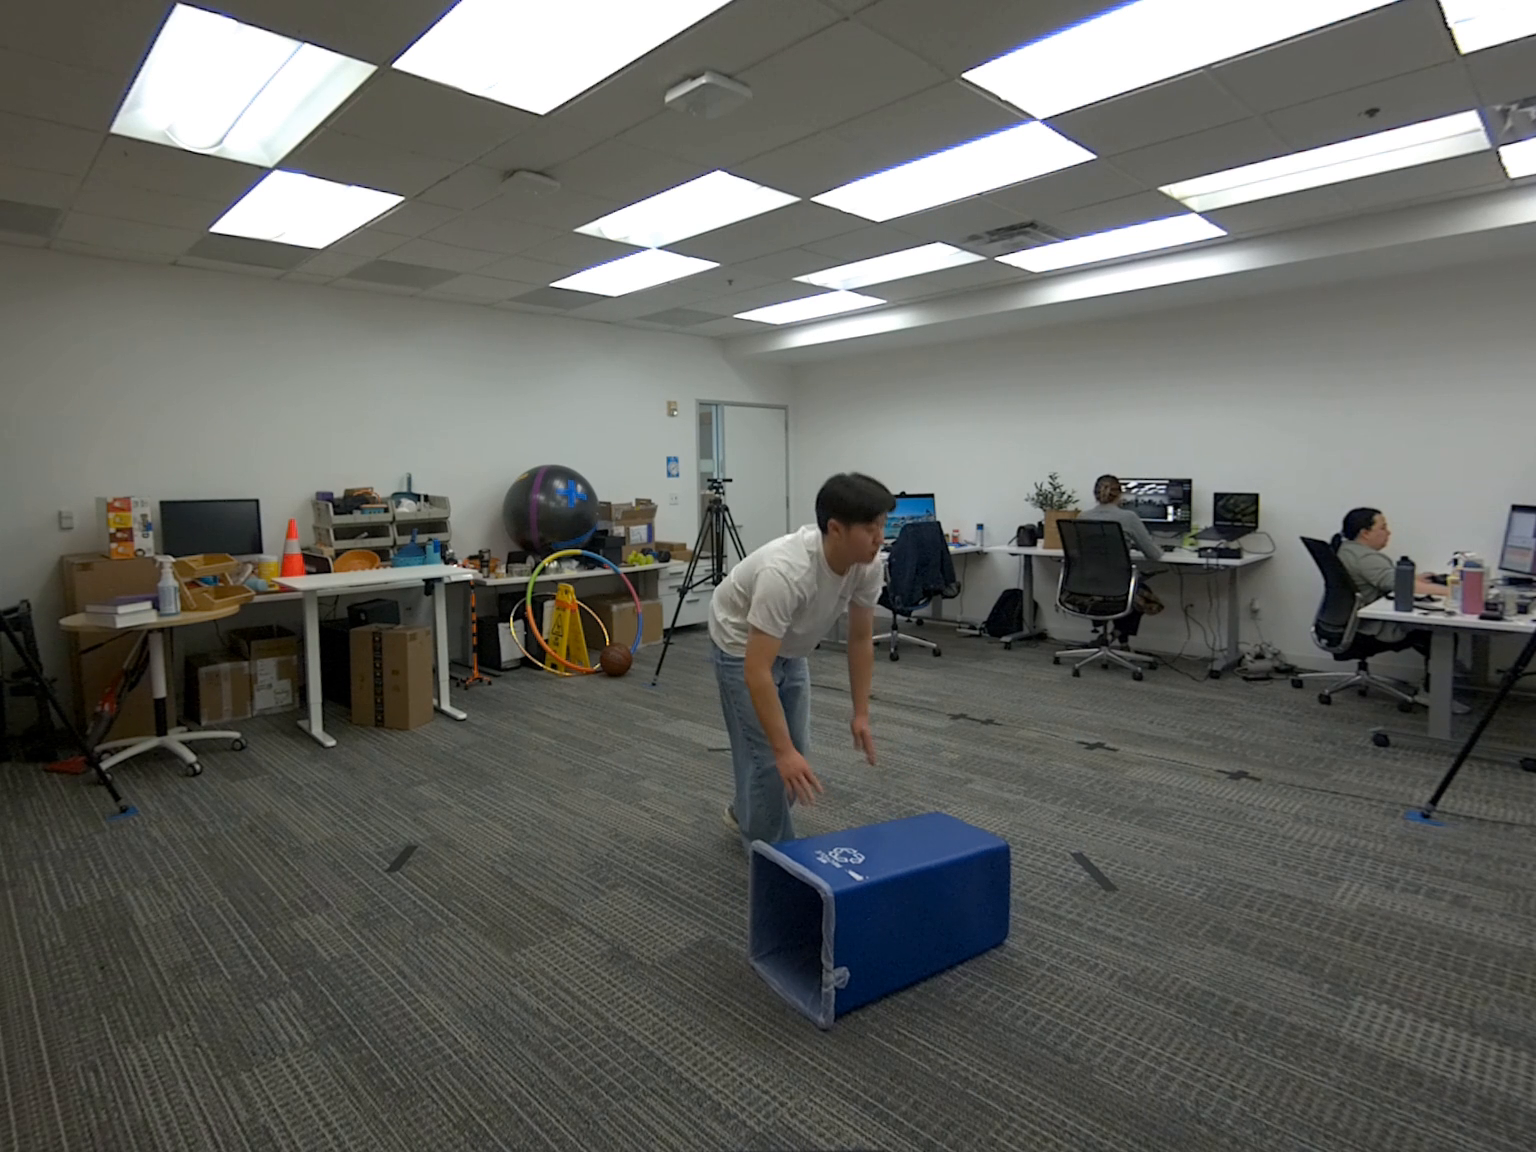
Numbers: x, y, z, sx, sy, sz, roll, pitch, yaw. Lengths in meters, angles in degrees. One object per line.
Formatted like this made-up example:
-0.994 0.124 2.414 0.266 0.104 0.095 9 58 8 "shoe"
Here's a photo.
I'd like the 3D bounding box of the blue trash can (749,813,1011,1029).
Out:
0.342 0.933 2.481 0.696 0.373 0.389 -3 5 -32 "blue trash can"
